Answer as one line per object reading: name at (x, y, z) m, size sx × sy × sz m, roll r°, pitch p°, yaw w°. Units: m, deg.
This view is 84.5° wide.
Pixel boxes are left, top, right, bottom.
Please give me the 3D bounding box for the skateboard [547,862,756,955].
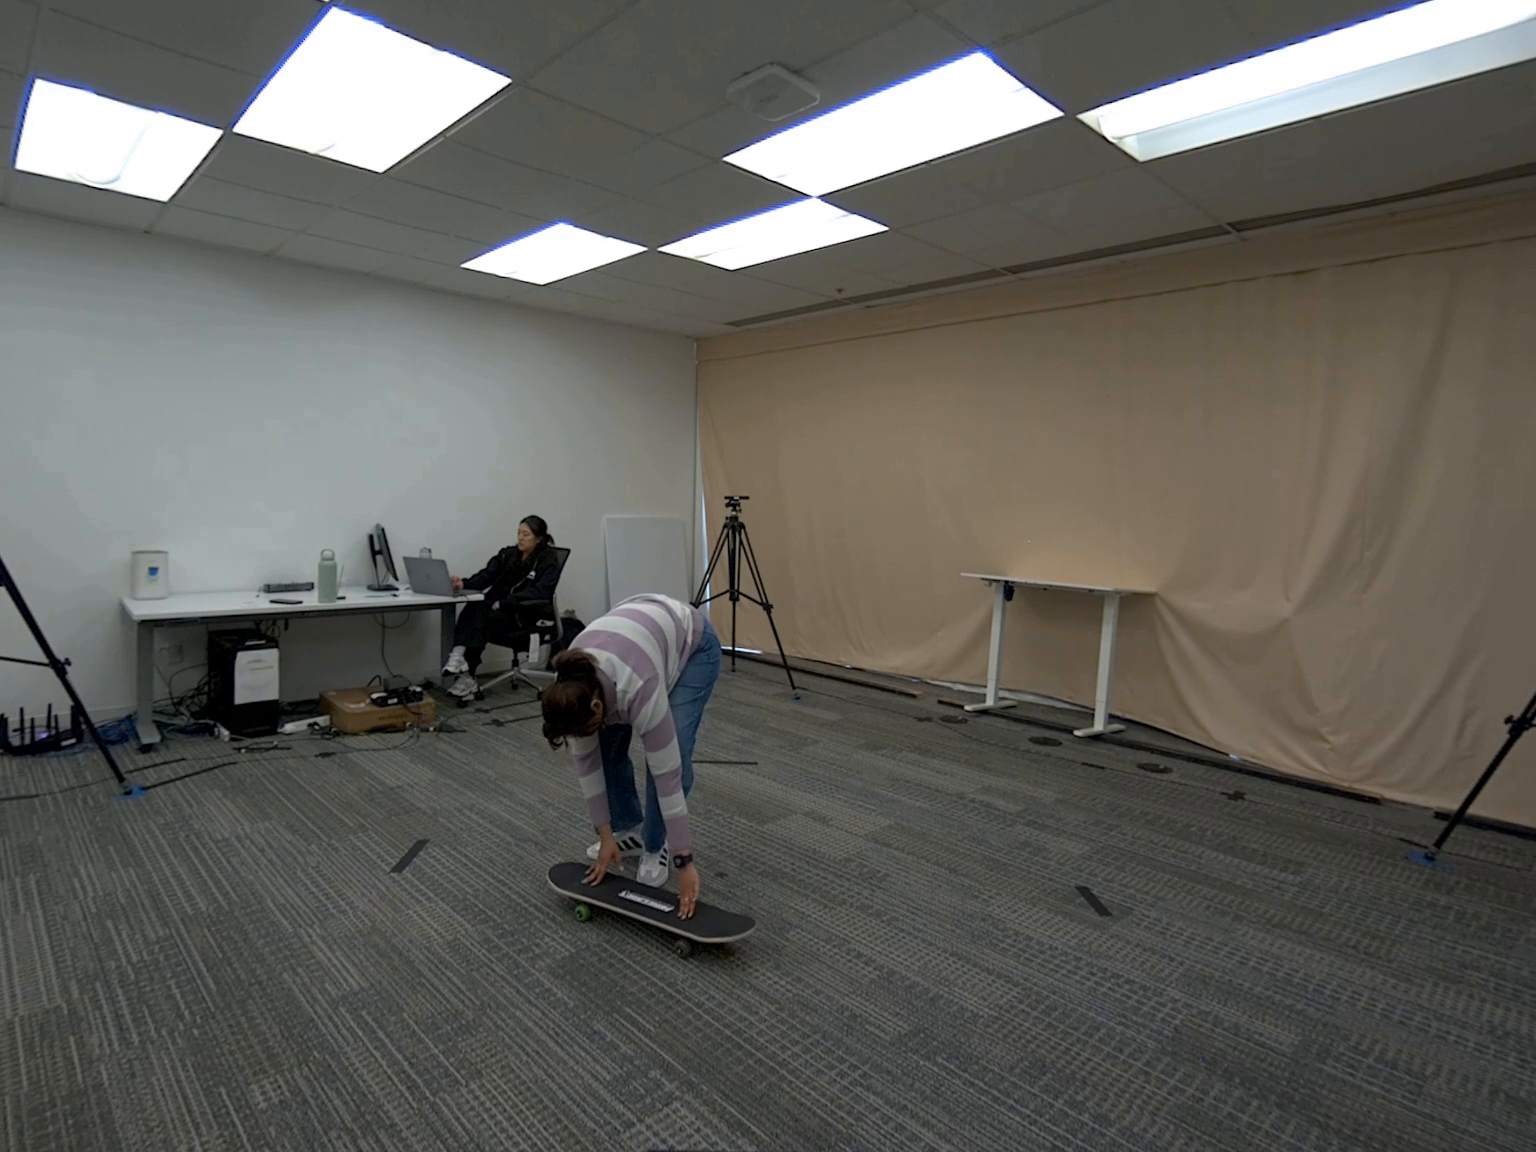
skateboard at (-0.398, 1.082, 2.706) m, size 0.802 × 0.110 × 0.190 m, roll 3°, pitch 5°, yaw 30°
